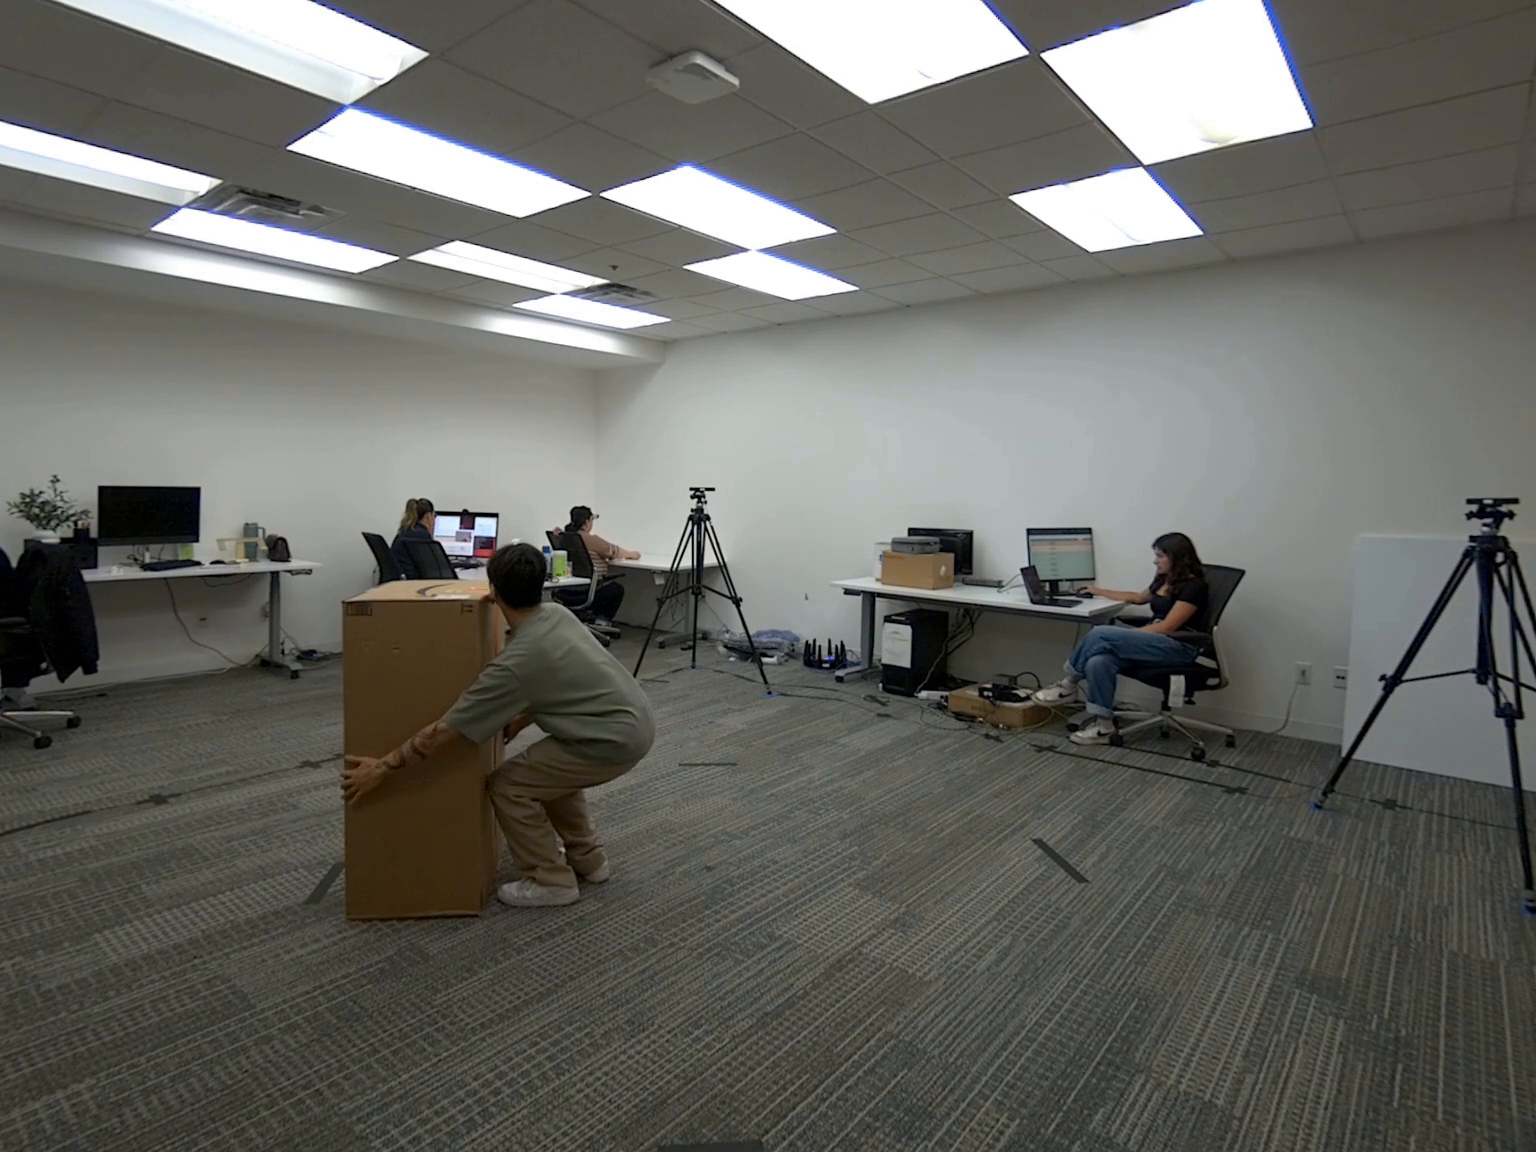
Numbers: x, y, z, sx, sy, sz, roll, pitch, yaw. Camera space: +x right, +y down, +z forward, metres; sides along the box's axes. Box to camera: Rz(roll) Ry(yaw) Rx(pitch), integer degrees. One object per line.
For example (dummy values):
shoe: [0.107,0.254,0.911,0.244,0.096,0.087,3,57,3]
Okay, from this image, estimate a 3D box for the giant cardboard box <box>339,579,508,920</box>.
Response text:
giant cardboard box: [-1.185,0.554,2.974,0.423,1.023,0.583,0,3,-8]
